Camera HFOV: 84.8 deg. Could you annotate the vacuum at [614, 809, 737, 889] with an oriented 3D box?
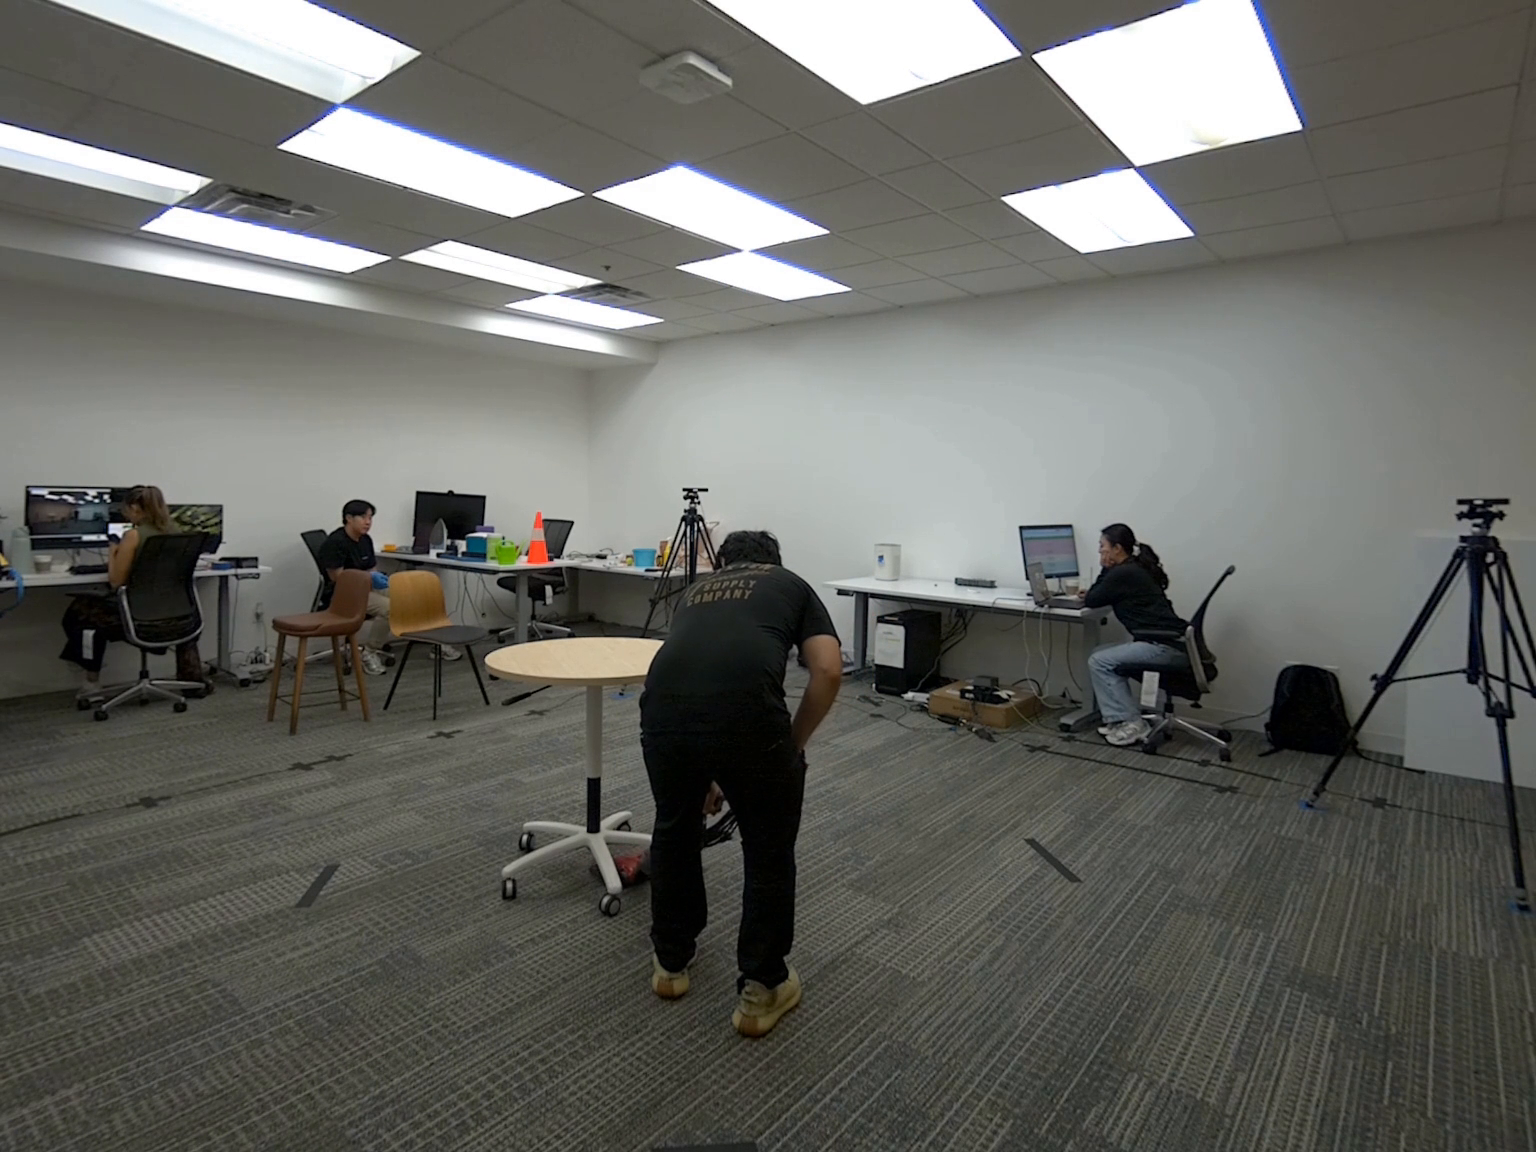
[{"bbox_3d":[-0.211,0.782,2.666,0.244,0.148,1.053,14,-36,-31],"label":"vacuum"}]
